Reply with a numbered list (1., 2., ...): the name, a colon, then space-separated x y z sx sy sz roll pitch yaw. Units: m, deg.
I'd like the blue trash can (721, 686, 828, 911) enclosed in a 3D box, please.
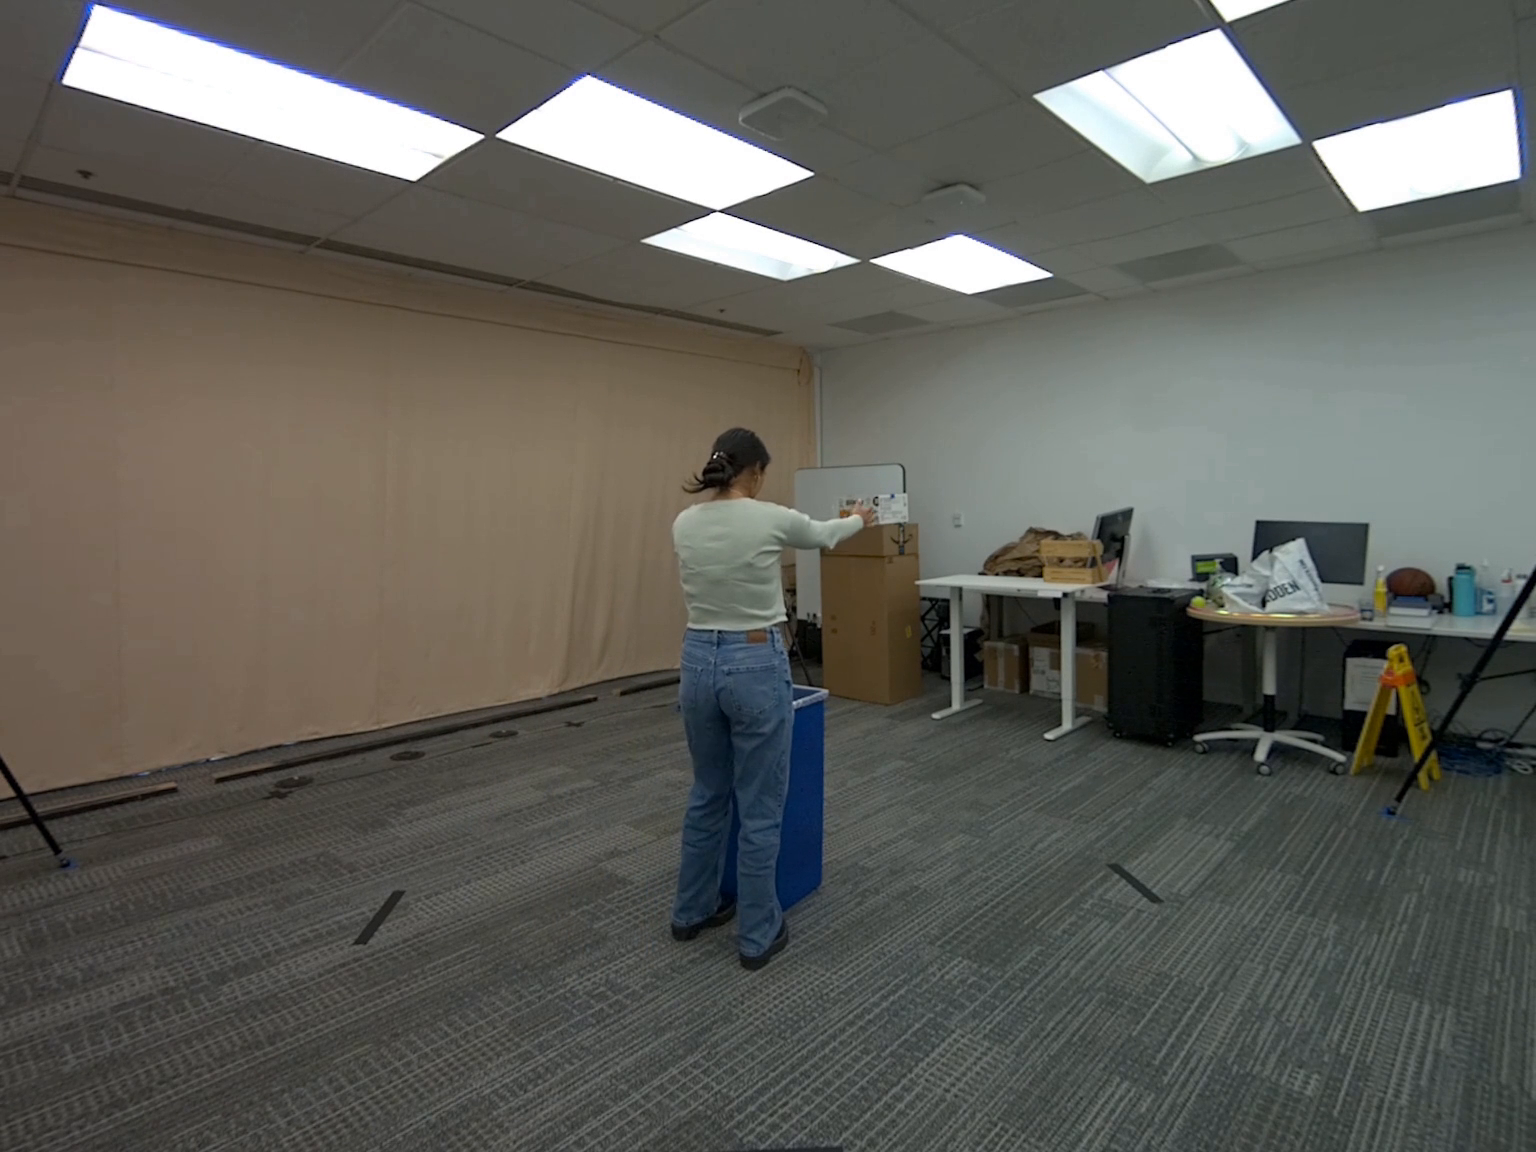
1. blue trash can: -0.018 0.775 3.036 0.386 0.712 0.367 2 4 37
